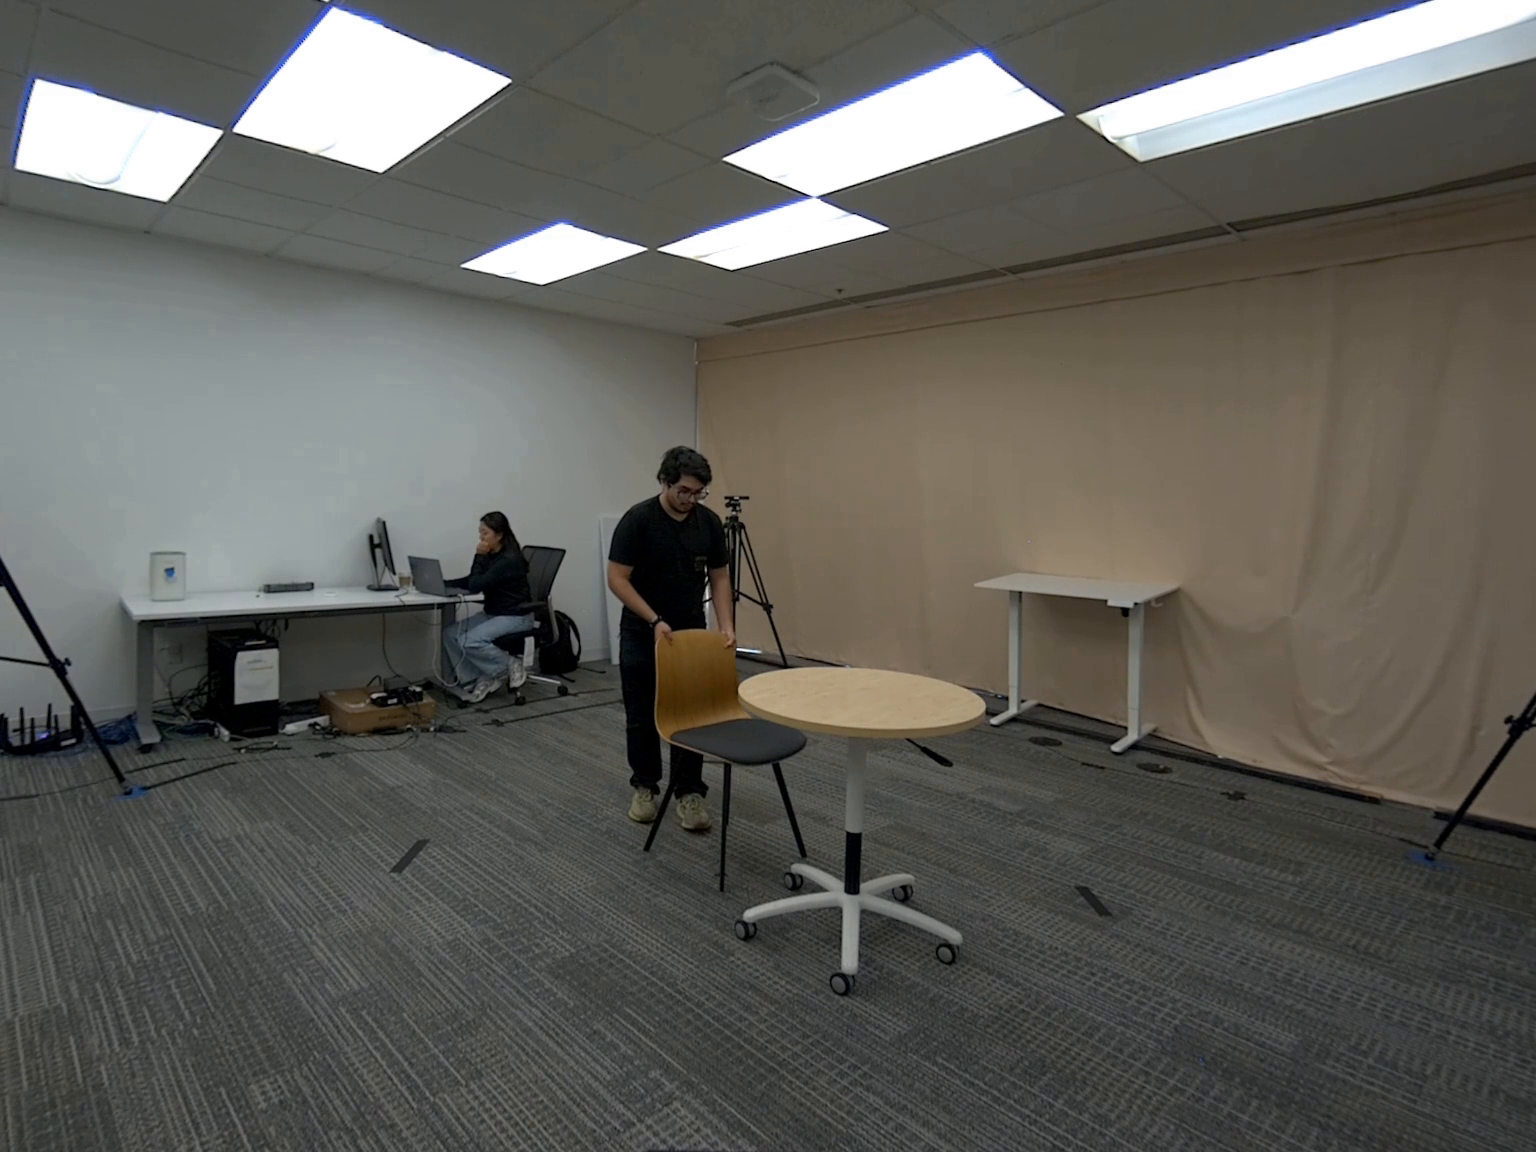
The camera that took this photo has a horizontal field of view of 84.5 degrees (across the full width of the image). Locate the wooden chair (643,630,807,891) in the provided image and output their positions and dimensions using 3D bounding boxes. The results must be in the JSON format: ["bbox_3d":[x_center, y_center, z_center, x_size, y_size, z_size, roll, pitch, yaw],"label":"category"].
[{"bbox_3d":[-0.158,0.661,3.247,0.467,0.878,0.535,-1,0,-44],"label":"wooden chair"}]
